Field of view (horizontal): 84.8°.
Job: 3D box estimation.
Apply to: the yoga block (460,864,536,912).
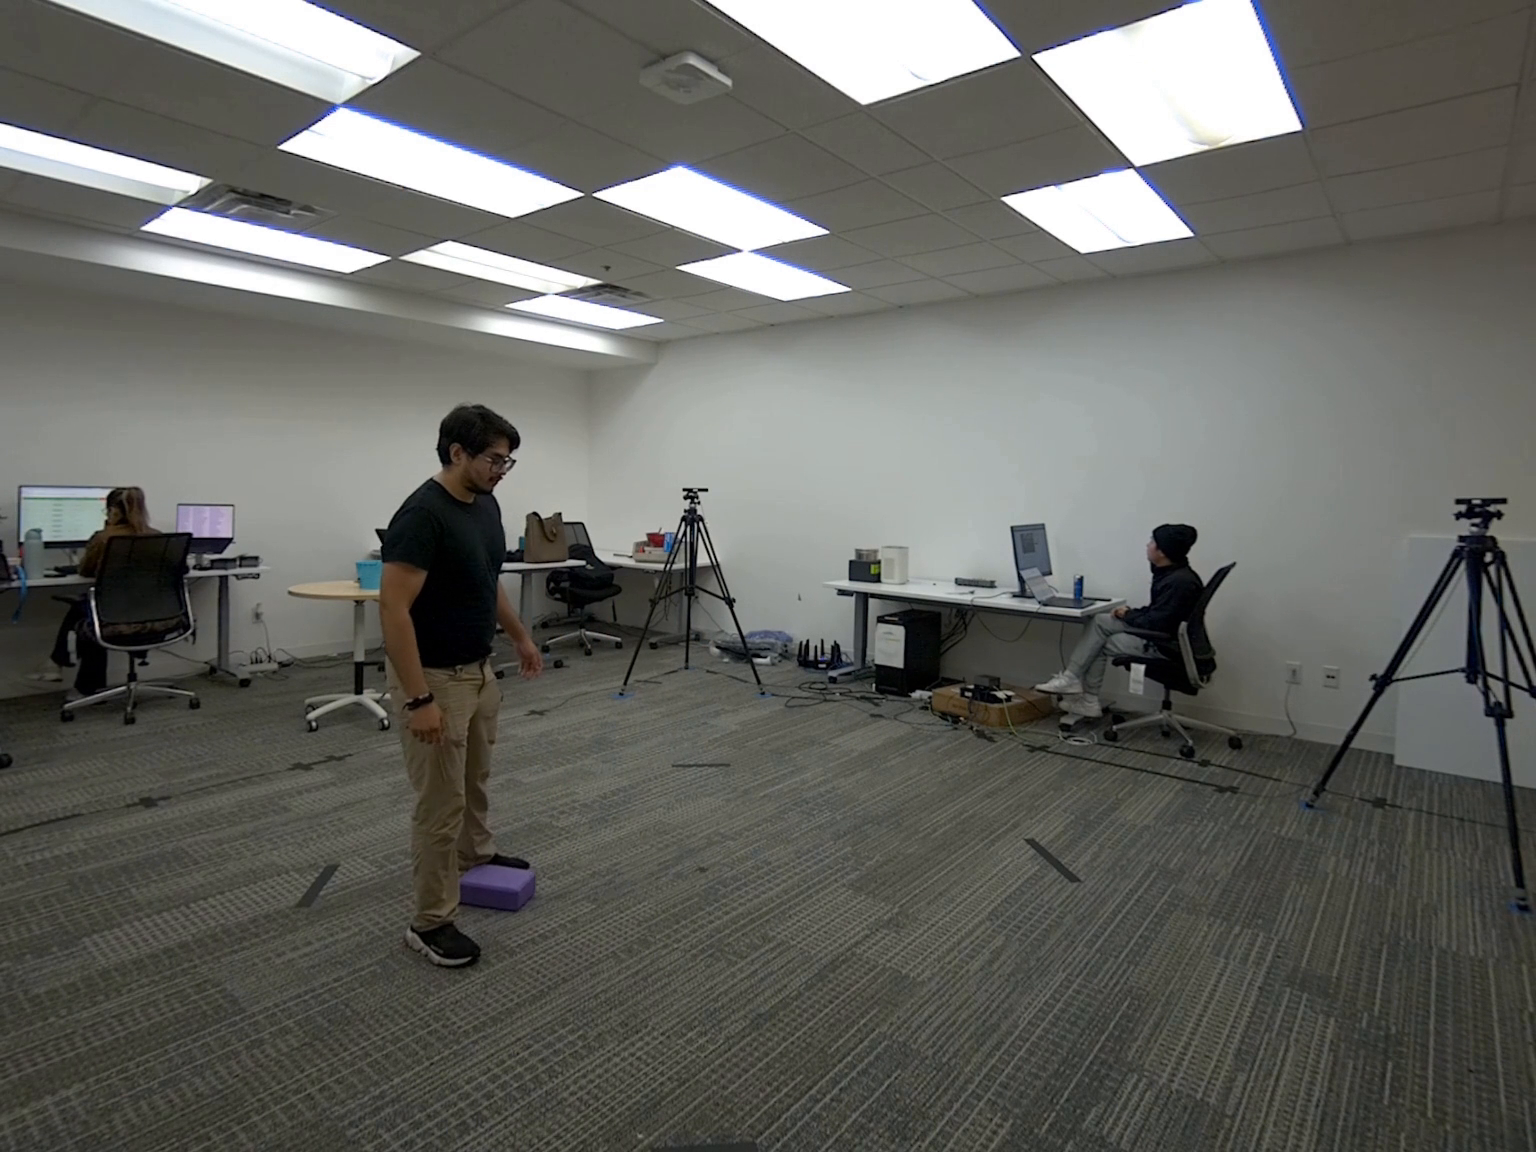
[{"bbox_3d":[-0.924,1.044,2.857,0.232,0.076,0.147,2,5,12],"label":"yoga block"}]
